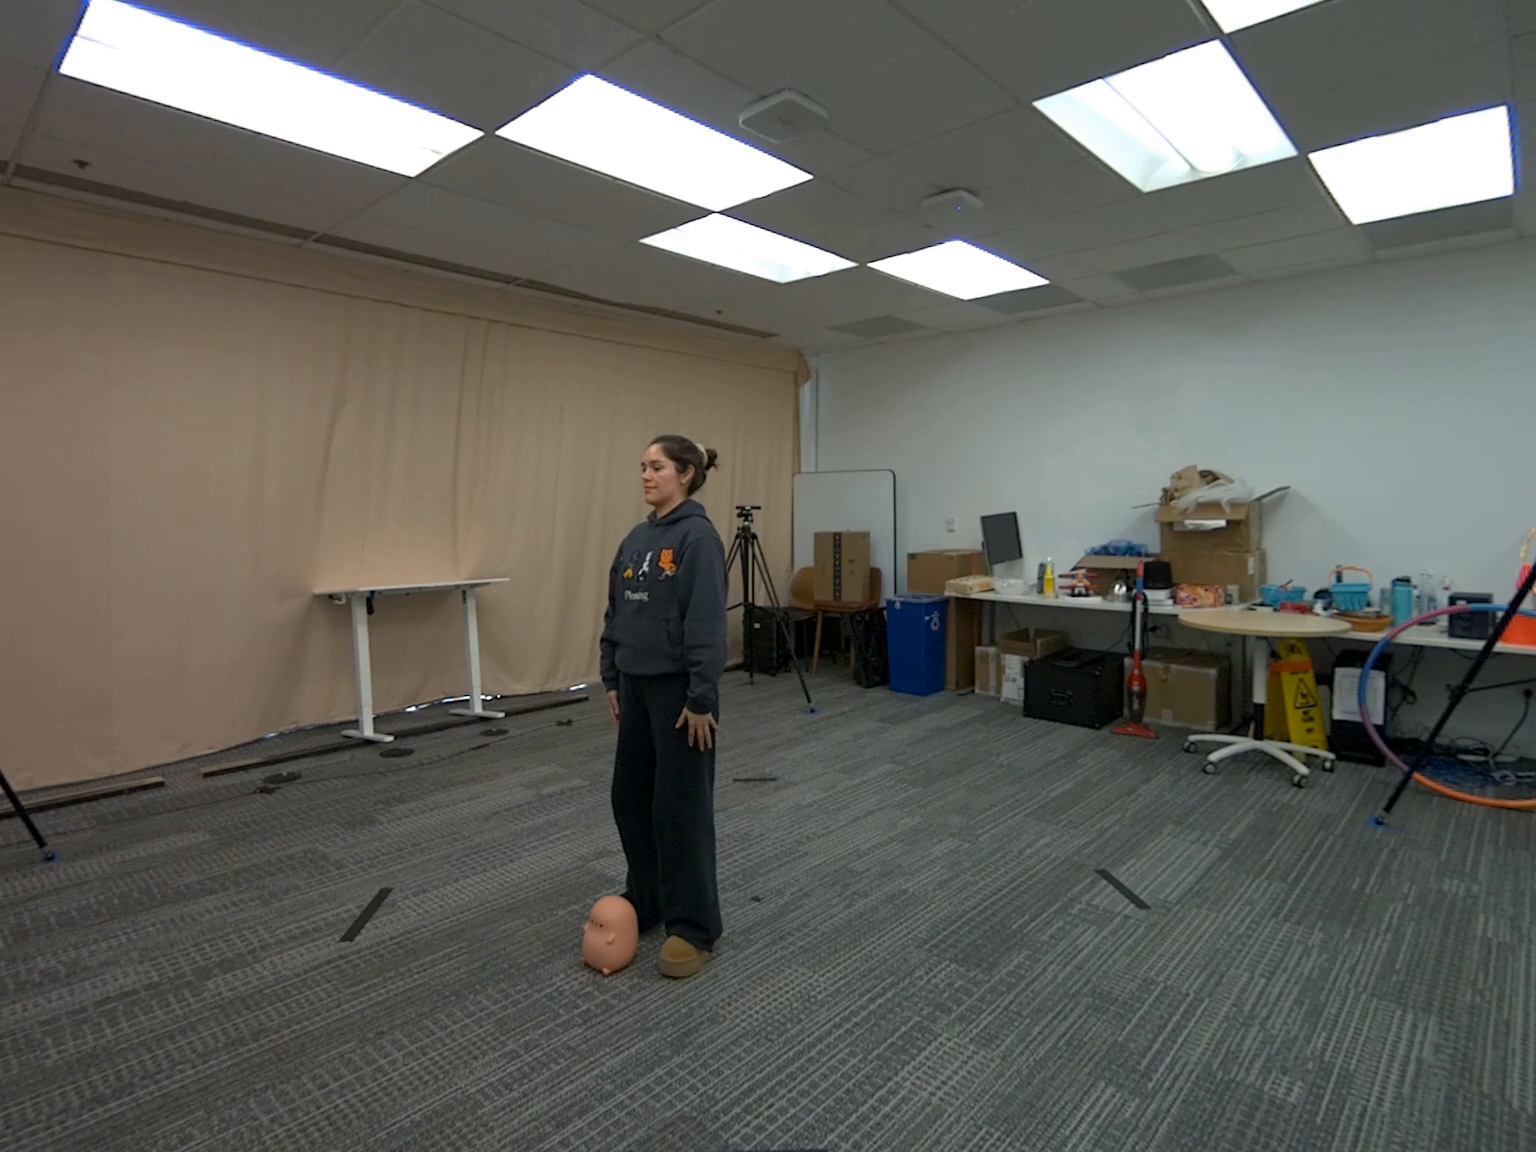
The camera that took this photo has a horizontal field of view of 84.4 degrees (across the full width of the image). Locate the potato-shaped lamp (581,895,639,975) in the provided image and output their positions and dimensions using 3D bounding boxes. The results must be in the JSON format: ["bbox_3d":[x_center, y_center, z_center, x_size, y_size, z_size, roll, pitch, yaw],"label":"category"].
[{"bbox_3d":[-0.465,1.089,2.564,0.170,0.197,0.166,2,5,43],"label":"potato-shaped lamp"}]
